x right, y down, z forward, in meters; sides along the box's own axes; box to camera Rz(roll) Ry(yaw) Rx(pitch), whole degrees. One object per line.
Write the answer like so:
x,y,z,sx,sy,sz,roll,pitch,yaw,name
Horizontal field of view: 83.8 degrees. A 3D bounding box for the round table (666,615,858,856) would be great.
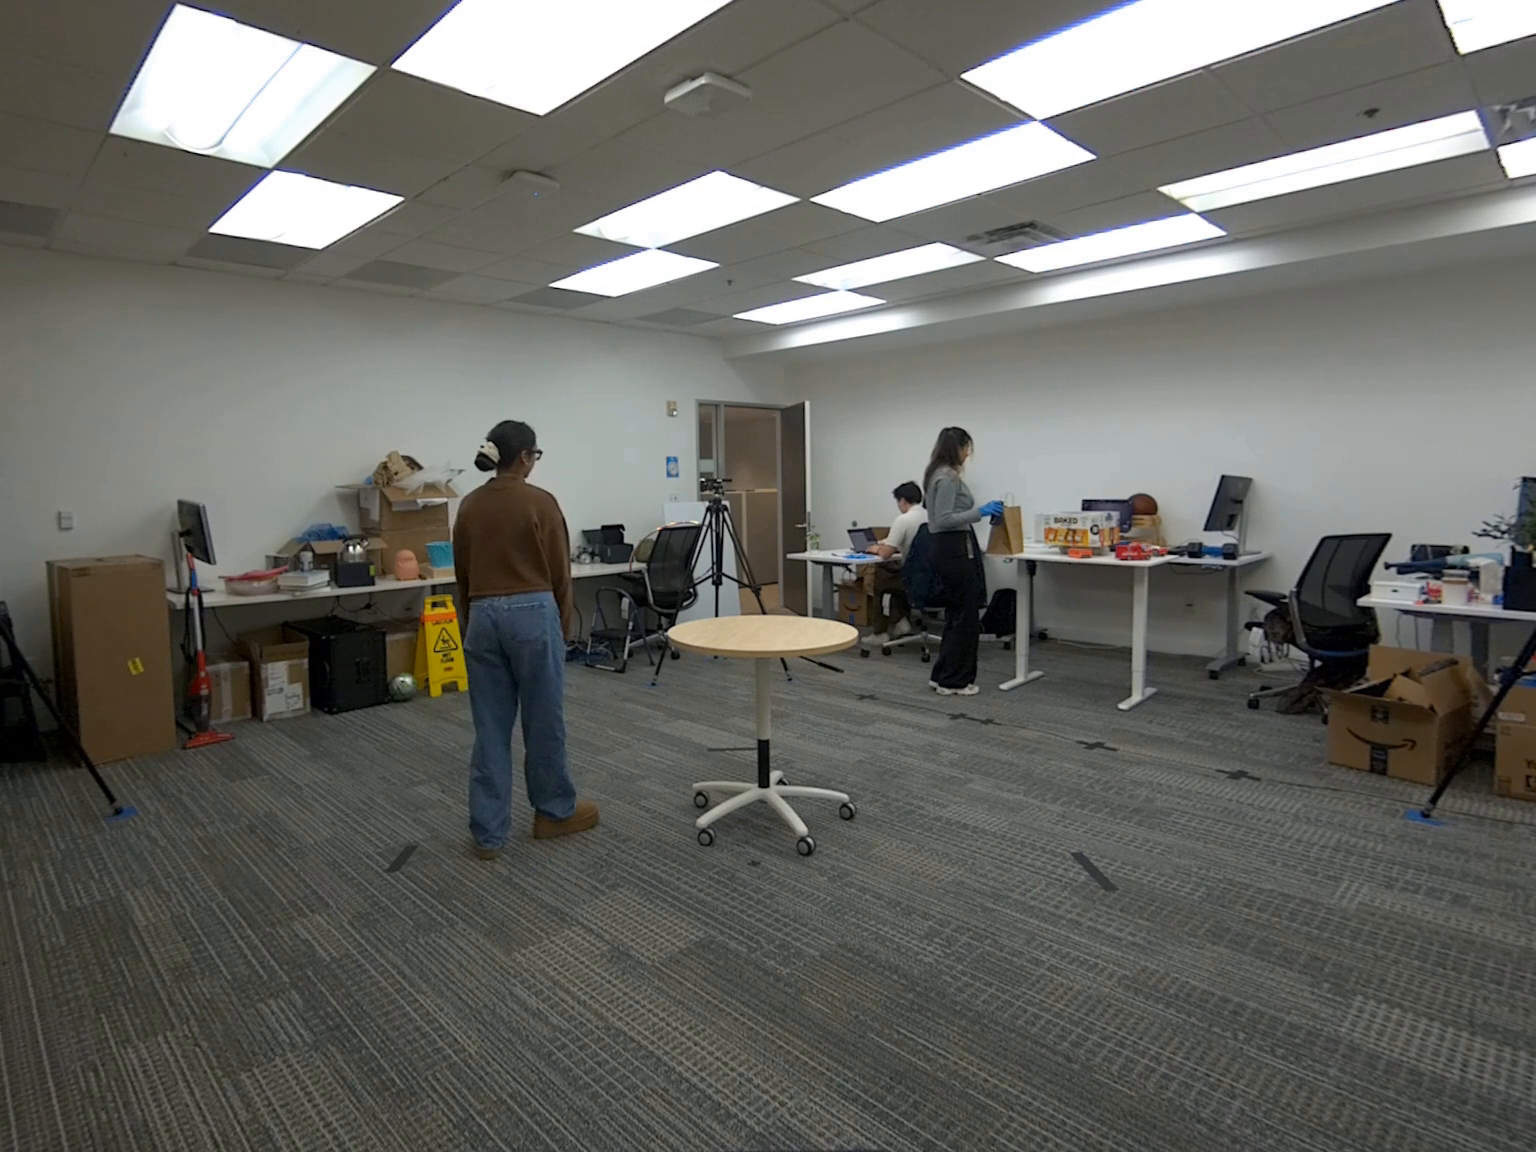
-0.018,0.613,3.473,0.763,0.791,0.768,-1,5,-2,round table
